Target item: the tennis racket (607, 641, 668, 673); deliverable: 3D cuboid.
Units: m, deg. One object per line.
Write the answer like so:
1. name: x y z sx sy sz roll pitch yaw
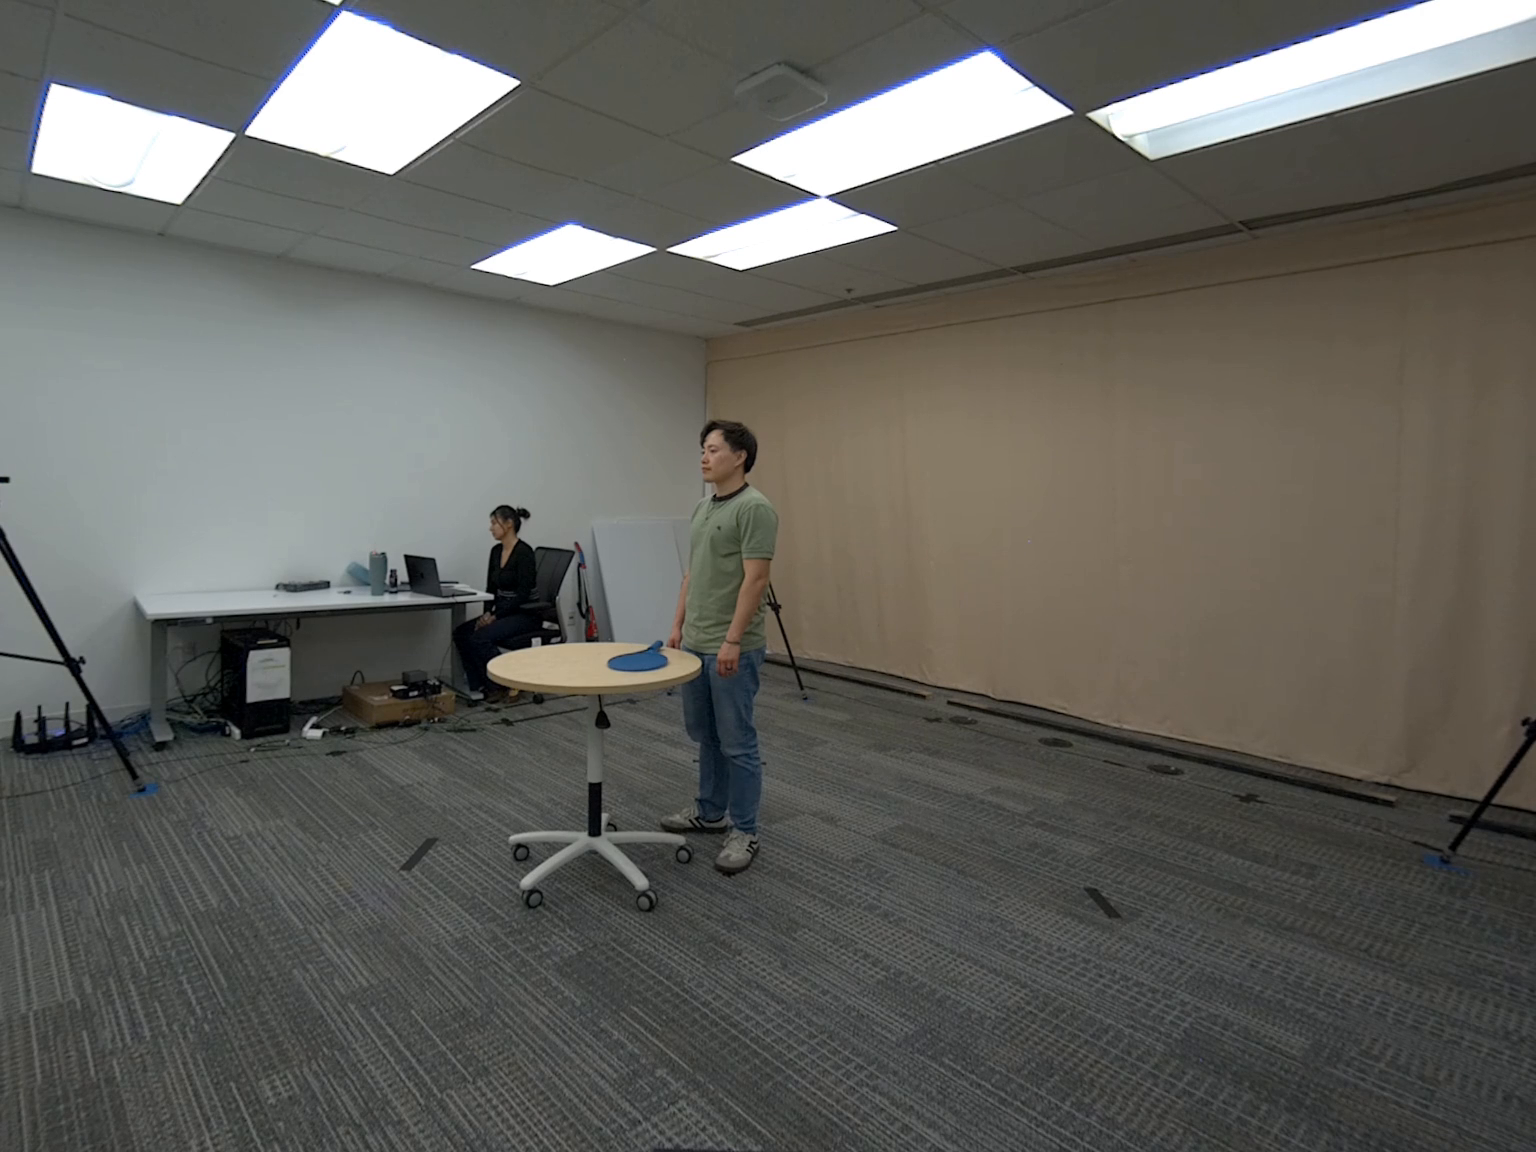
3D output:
1. tennis racket: -0.454 0.299 3.110 0.215 0.031 0.431 2 8 9
